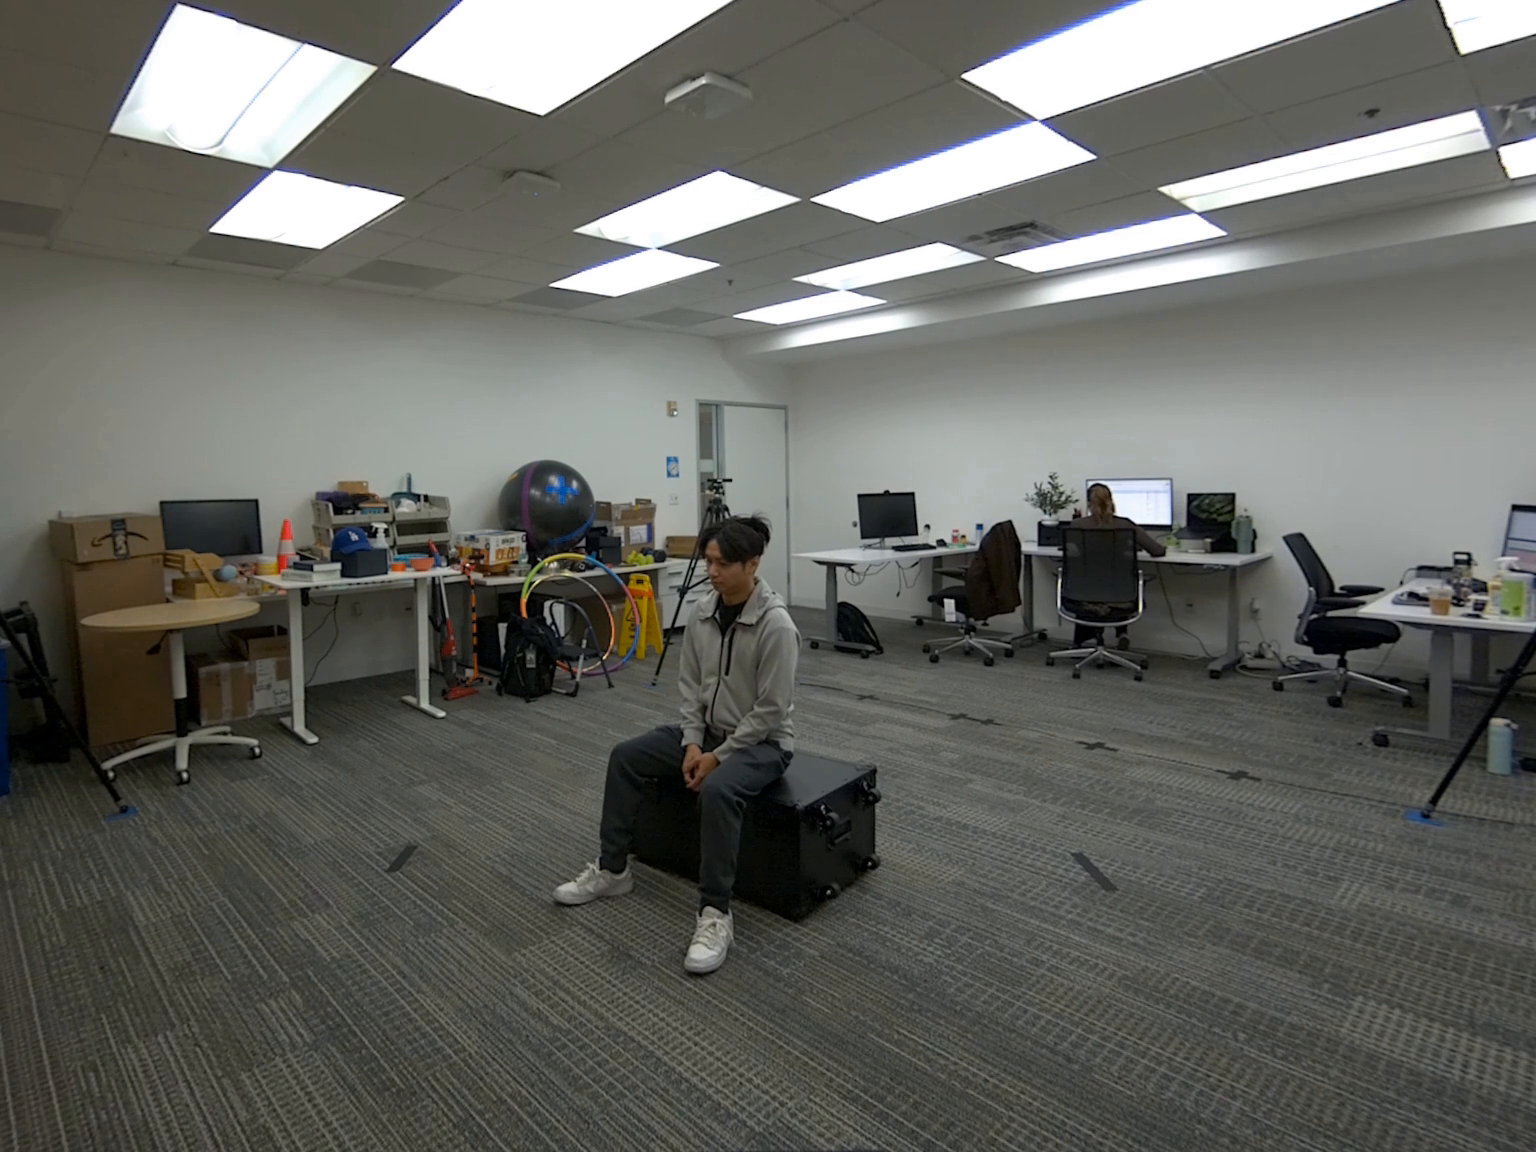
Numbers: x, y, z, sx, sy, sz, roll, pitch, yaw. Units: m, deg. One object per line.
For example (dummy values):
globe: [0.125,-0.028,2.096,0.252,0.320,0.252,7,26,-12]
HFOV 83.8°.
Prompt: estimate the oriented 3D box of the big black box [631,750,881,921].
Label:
big black box: [-0.090,0.860,3.115,0.887,0.394,0.508,4,7,38]
